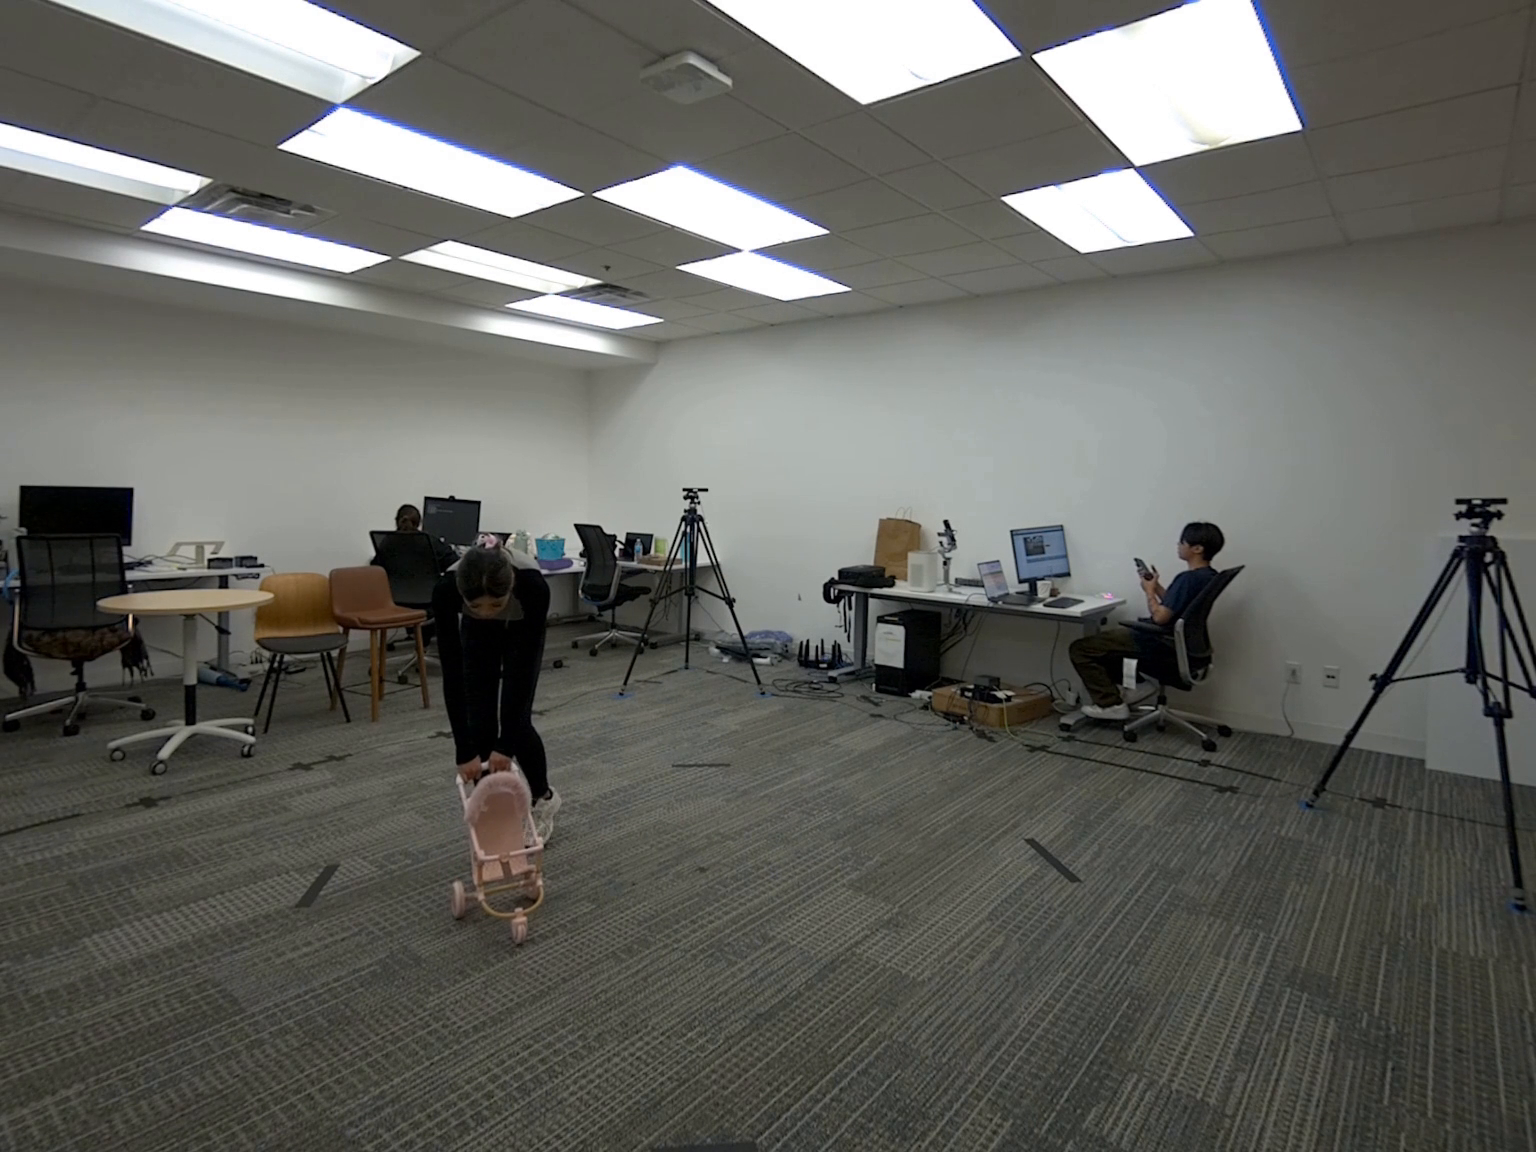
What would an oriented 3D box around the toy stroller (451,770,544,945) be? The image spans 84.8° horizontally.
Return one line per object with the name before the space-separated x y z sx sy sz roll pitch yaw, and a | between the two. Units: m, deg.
toy stroller | -0.865 0.867 2.735 0.274 0.541 0.346 -1 -11 -28
